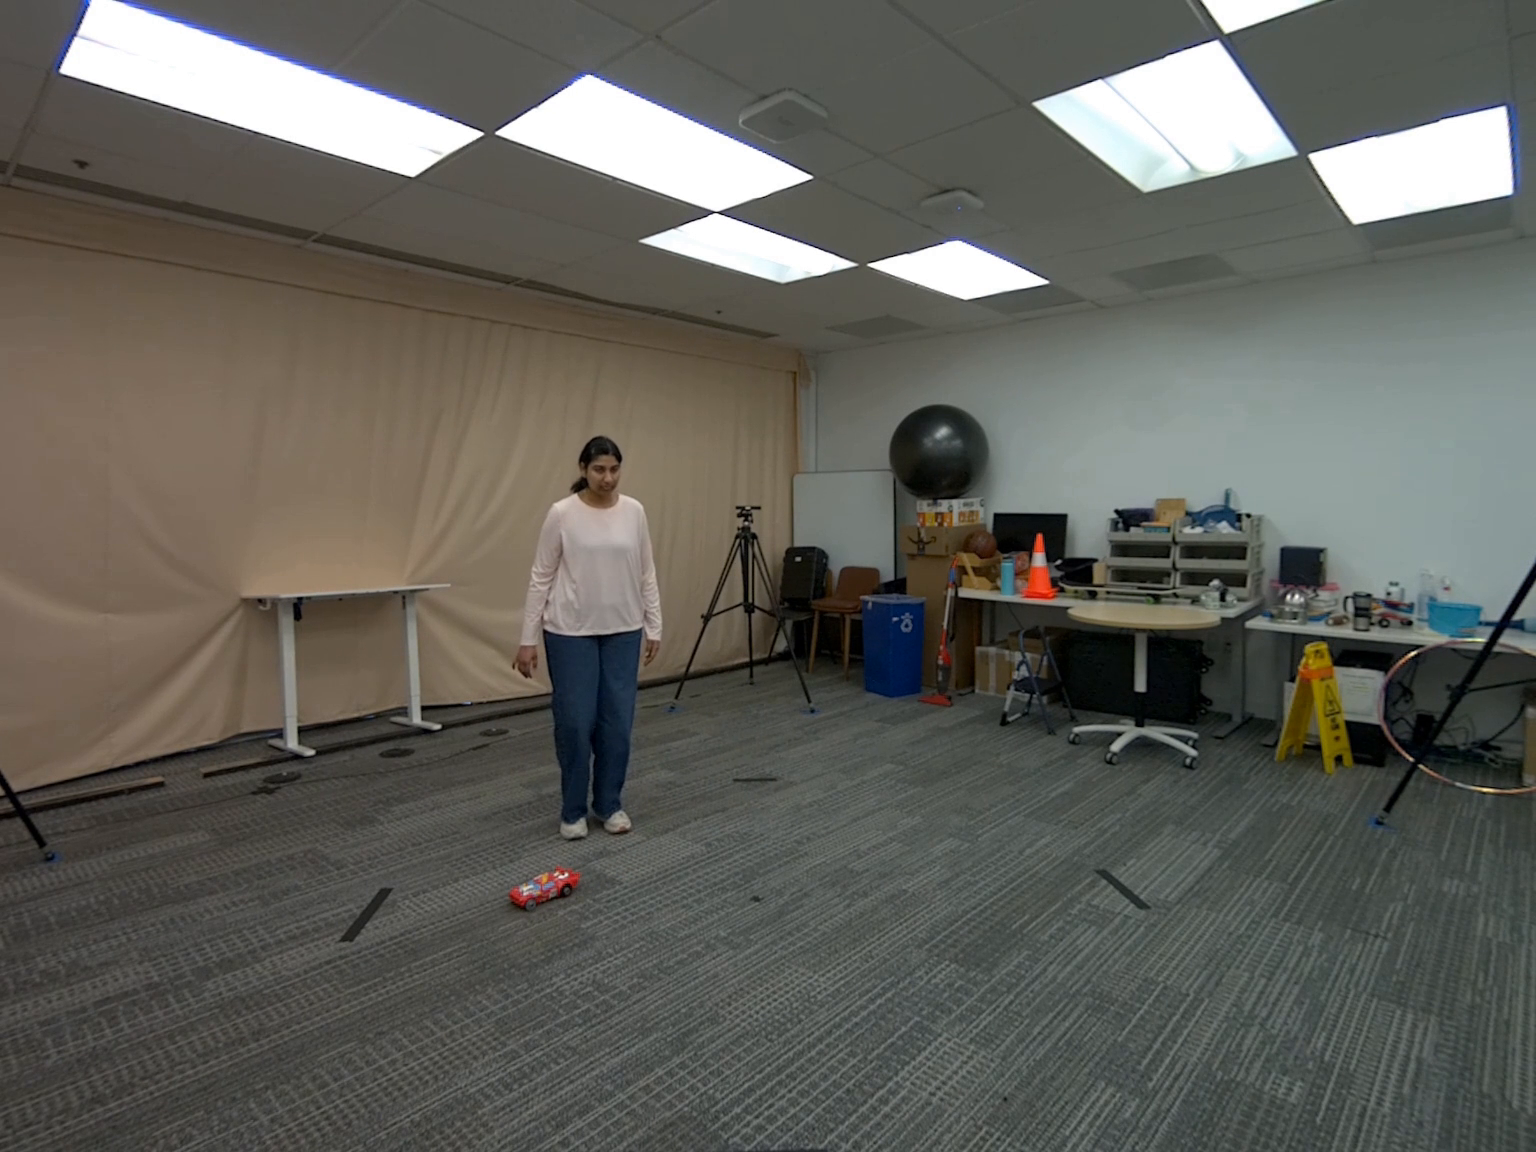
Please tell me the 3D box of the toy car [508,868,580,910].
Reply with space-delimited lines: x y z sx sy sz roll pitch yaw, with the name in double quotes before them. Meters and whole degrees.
"toy car" -0.796 1.112 3.011 0.248 0.082 0.134 -20 15 -41
